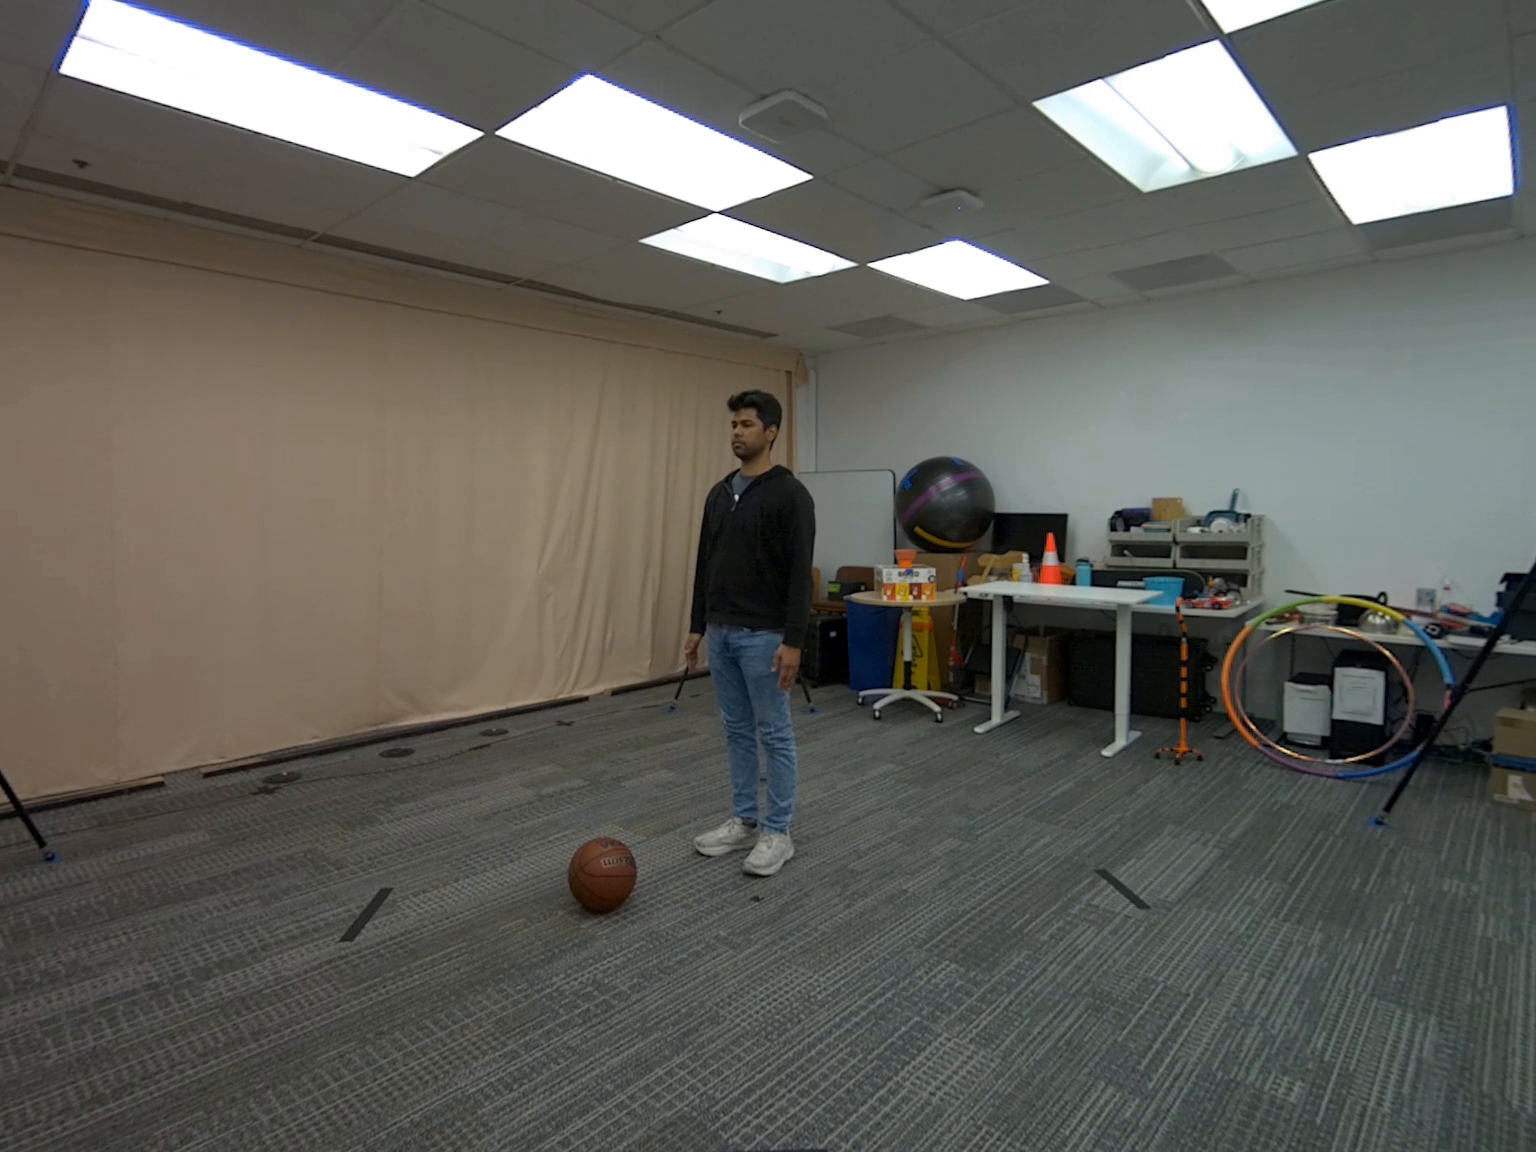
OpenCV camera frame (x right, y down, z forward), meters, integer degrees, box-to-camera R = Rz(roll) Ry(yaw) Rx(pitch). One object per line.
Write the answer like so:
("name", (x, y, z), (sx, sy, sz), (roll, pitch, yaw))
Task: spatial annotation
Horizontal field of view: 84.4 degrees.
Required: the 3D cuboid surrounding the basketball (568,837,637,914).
("basketball", (-0.573, 1.035, 2.920), (0.236, 0.235, 0.237), (0, 4, -2))
